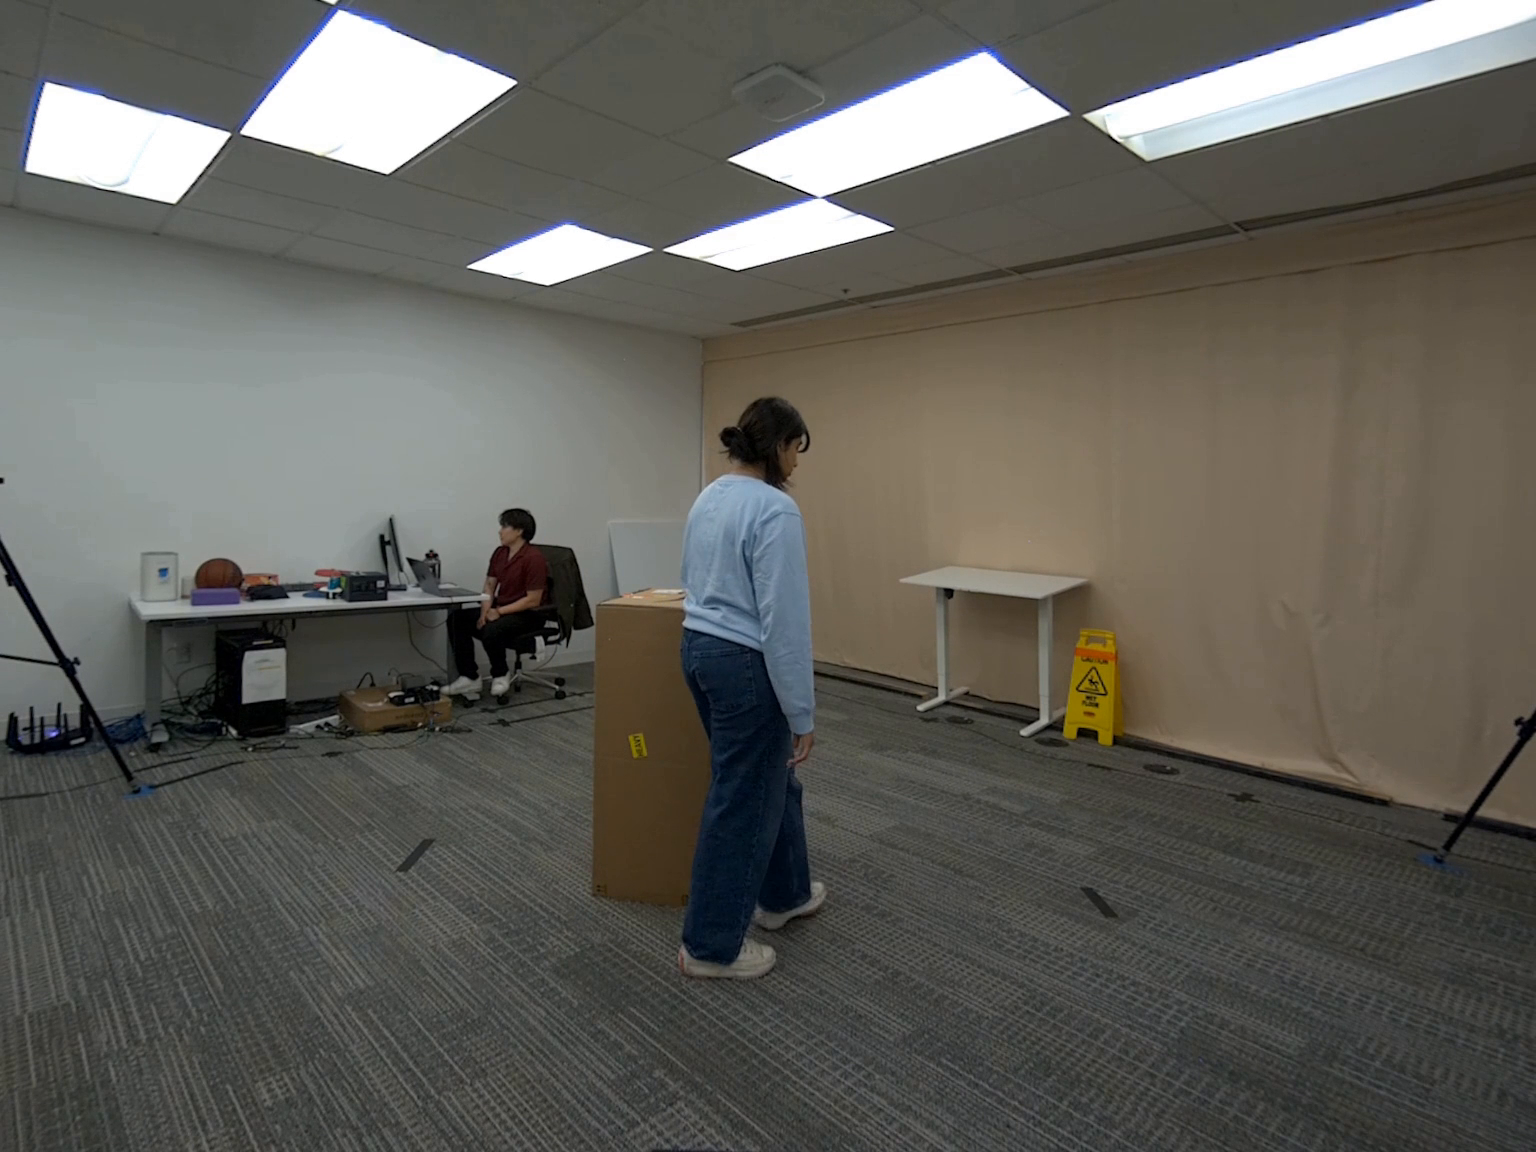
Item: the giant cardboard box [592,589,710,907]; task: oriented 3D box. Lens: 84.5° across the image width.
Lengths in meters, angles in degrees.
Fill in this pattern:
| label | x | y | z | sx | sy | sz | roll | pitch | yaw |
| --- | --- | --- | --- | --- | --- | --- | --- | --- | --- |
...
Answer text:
| label | x | y | z | sx | sy | sz | roll | pitch | yaw |
| --- | --- | --- | --- | --- | --- | --- | --- | --- | --- |
| giant cardboard box | -0.350 | 0.589 | 3.130 | 0.431 | 1.023 | 0.573 | 2 | 3 | 12 |
